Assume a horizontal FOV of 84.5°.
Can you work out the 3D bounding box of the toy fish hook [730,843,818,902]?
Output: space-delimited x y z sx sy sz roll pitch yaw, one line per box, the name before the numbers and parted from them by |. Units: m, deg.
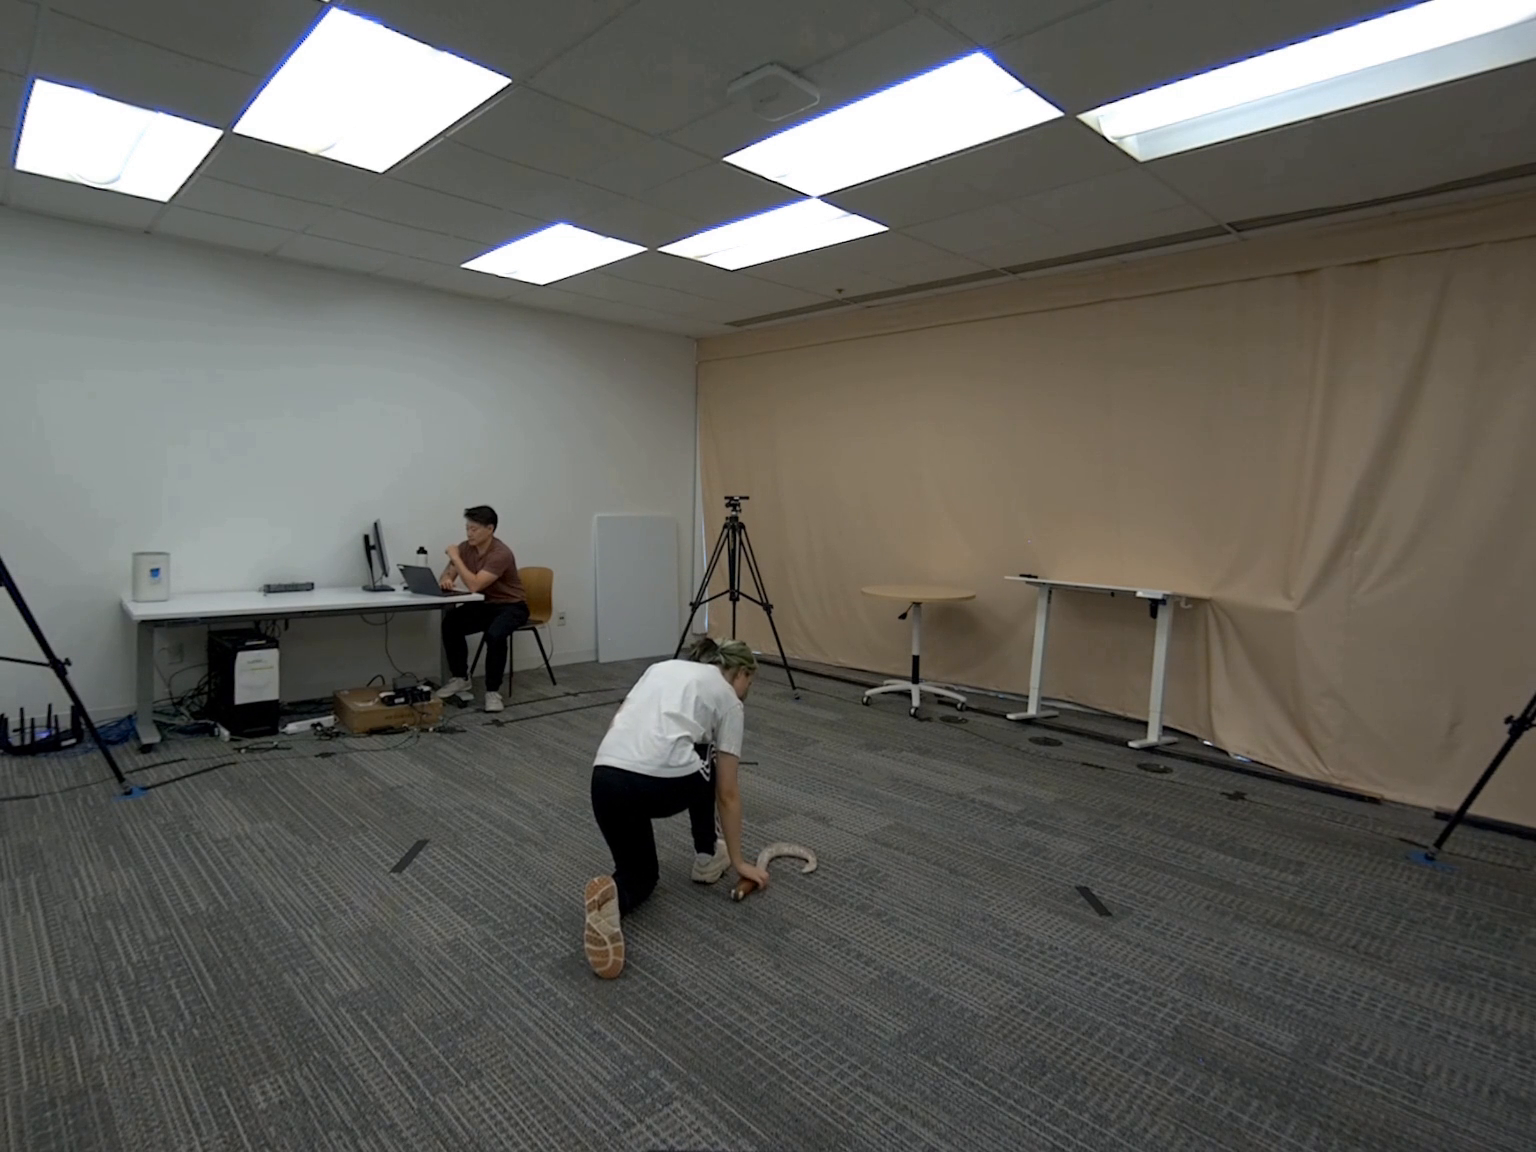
toy fish hook | 0.026 1.084 3.089 0.228 0.048 0.499 1 5 22
